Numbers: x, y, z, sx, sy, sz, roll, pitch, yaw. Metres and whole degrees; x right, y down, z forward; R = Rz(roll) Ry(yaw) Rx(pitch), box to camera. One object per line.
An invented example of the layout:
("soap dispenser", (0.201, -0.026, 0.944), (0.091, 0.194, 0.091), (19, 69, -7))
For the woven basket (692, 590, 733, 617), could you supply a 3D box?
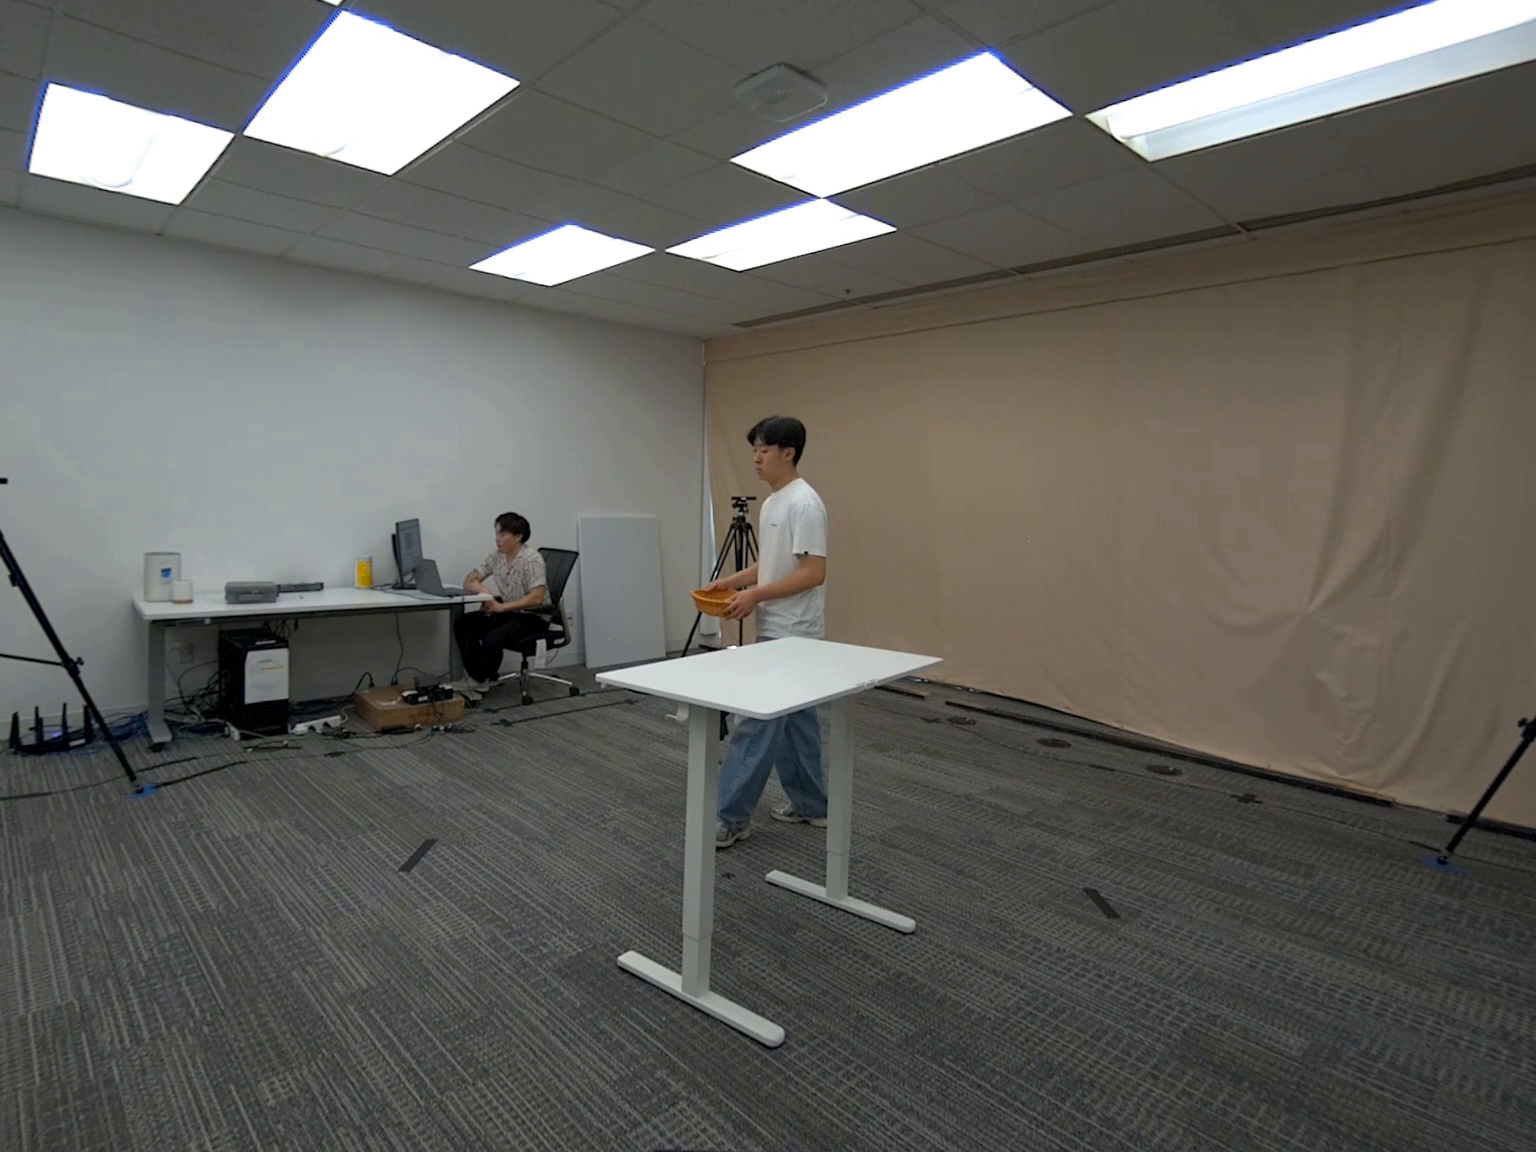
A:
("woven basket", (-0.174, 0.113, 3.436), (0.248, 0.073, 0.357), (0, 8, -21))
